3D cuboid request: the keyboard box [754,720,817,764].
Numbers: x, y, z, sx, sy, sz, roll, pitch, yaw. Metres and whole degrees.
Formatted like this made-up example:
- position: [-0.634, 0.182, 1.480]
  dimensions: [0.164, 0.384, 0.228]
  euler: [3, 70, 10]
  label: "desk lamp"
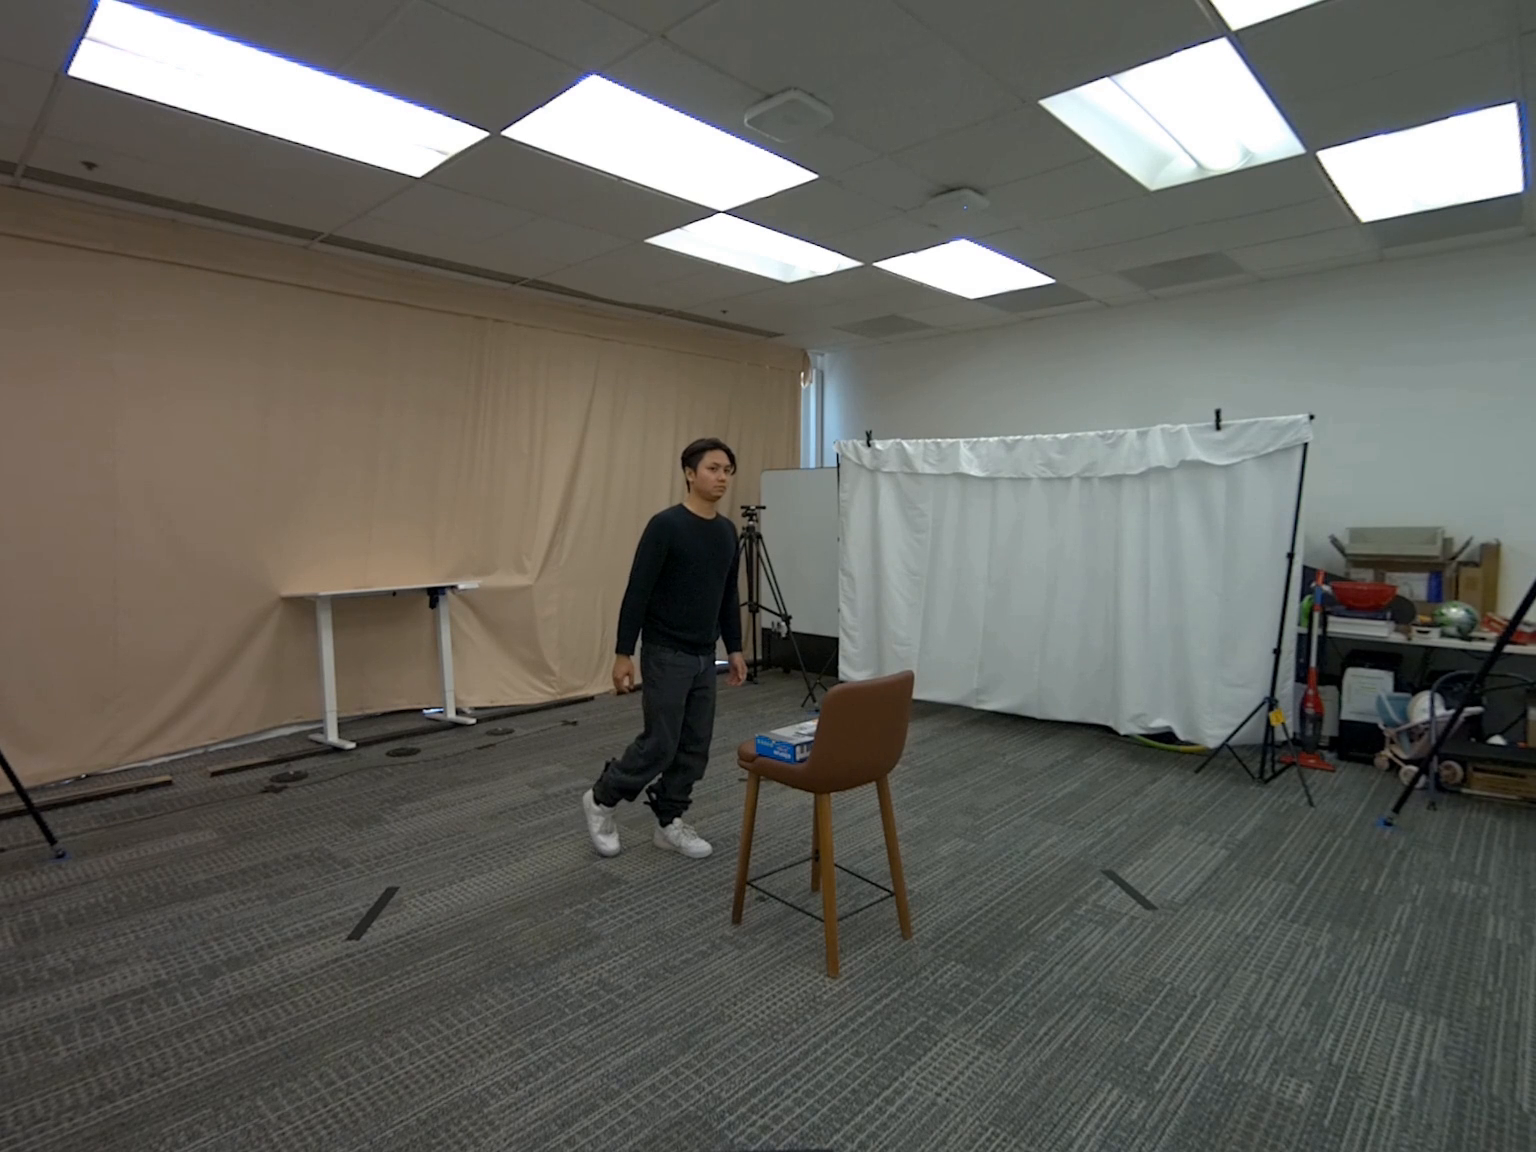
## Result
- position: [0.178, 0.516, 2.729]
  dimensions: [0.423, 0.059, 0.182]
  euler: [-4, 4, -43]
  label: "keyboard box"
